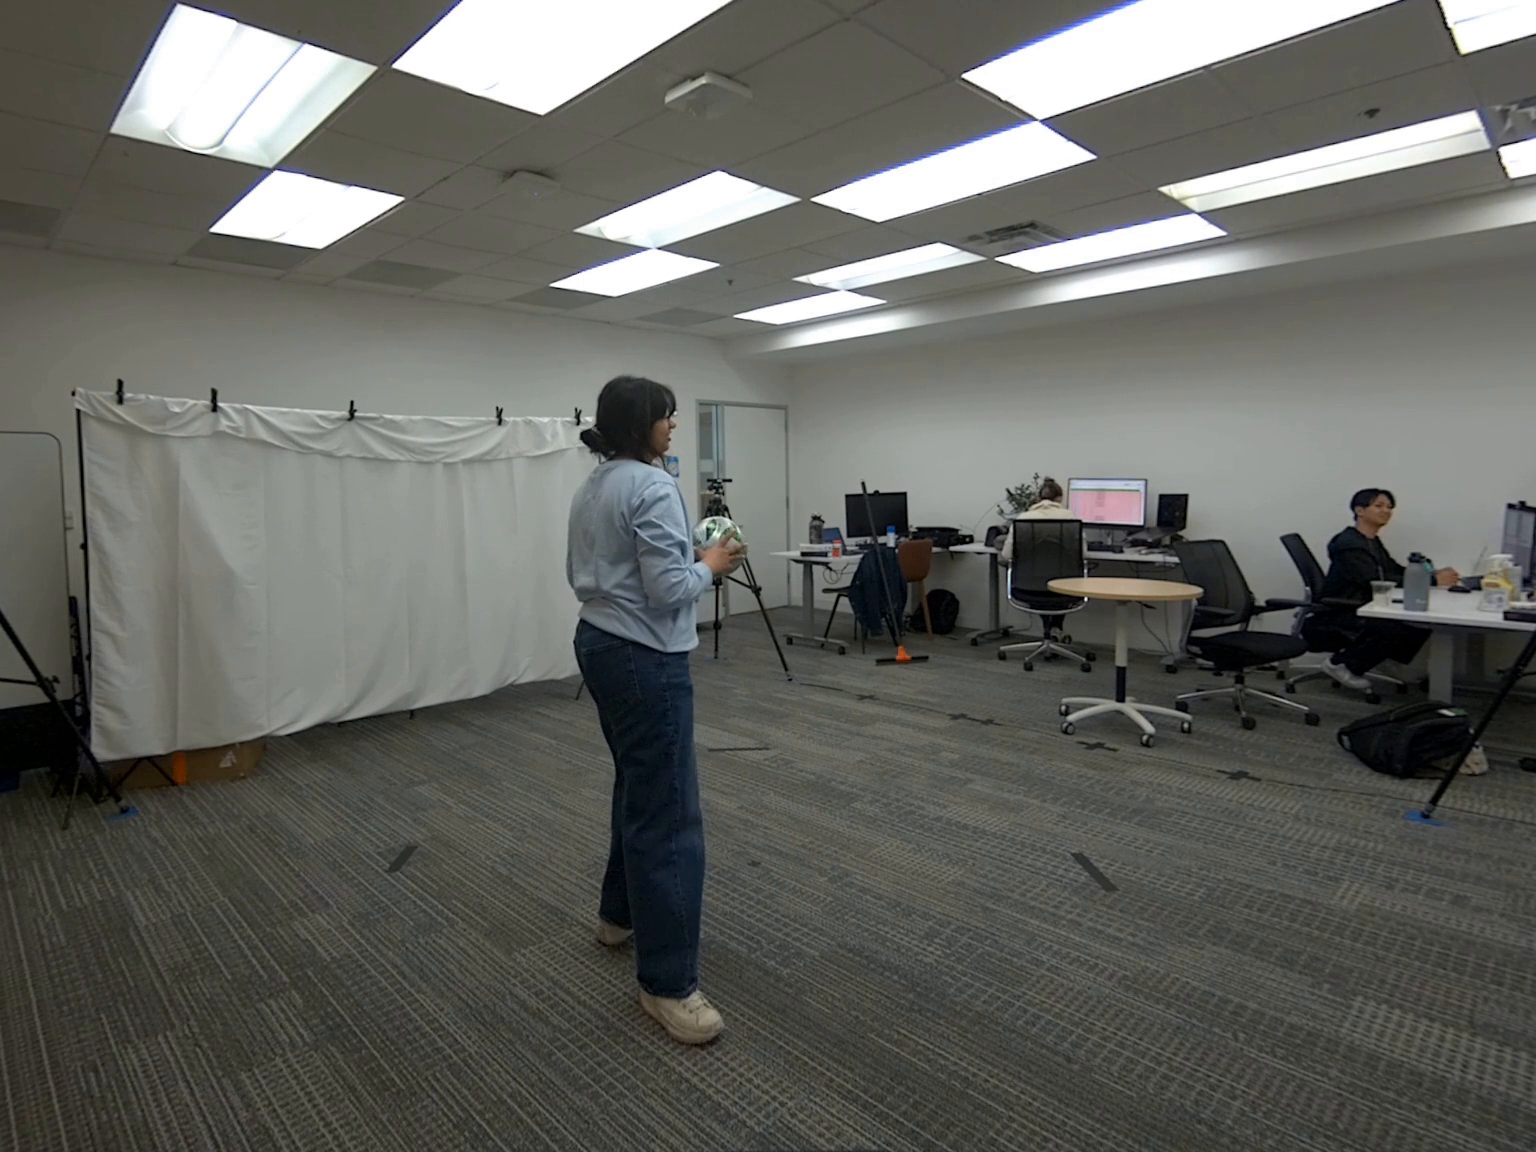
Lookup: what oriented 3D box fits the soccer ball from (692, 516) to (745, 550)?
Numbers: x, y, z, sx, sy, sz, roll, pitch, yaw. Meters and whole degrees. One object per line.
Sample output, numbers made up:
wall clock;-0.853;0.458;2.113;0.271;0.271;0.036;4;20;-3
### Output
soccer ball;-0.150;-0.092;2.622;0.187;0.187;0.188;-1;5;-2
